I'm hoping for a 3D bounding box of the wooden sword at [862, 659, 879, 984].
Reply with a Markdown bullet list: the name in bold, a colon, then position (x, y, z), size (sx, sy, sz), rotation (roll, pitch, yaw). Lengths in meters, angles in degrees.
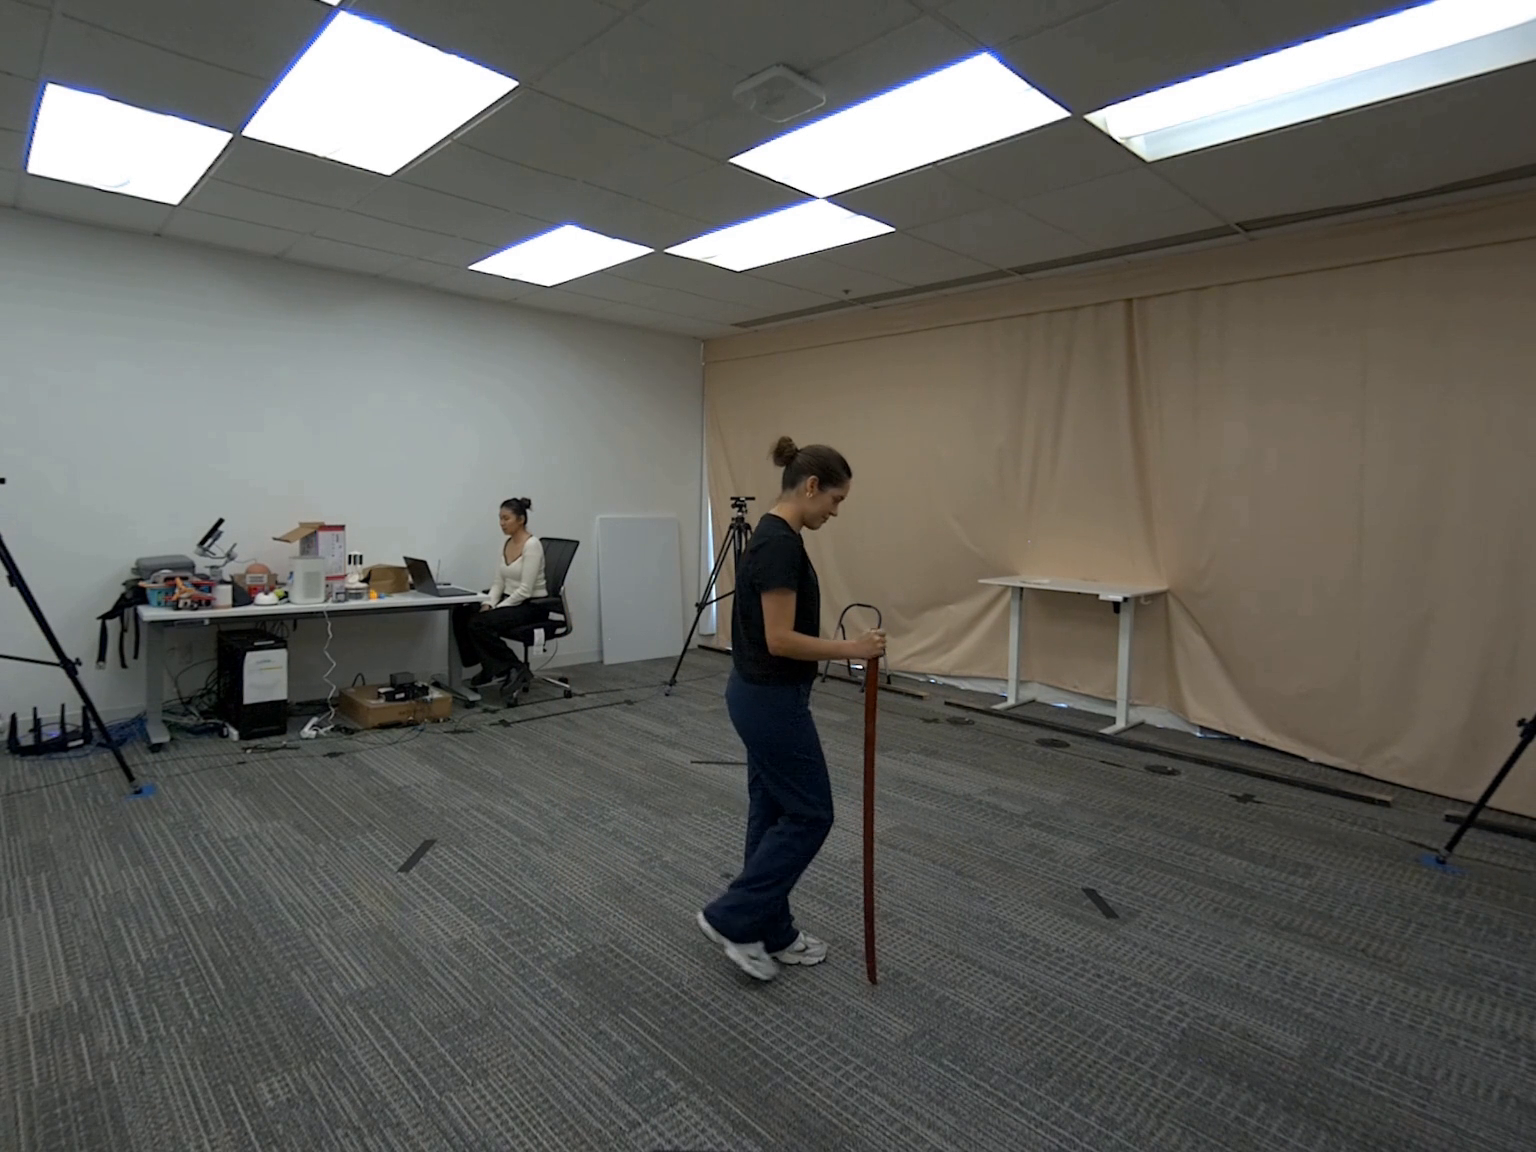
- **wooden sword**: position (0.298, 0.680, 2.402), size (0.024, 1.023, 0.051), rotation (-1, 2, 2)
